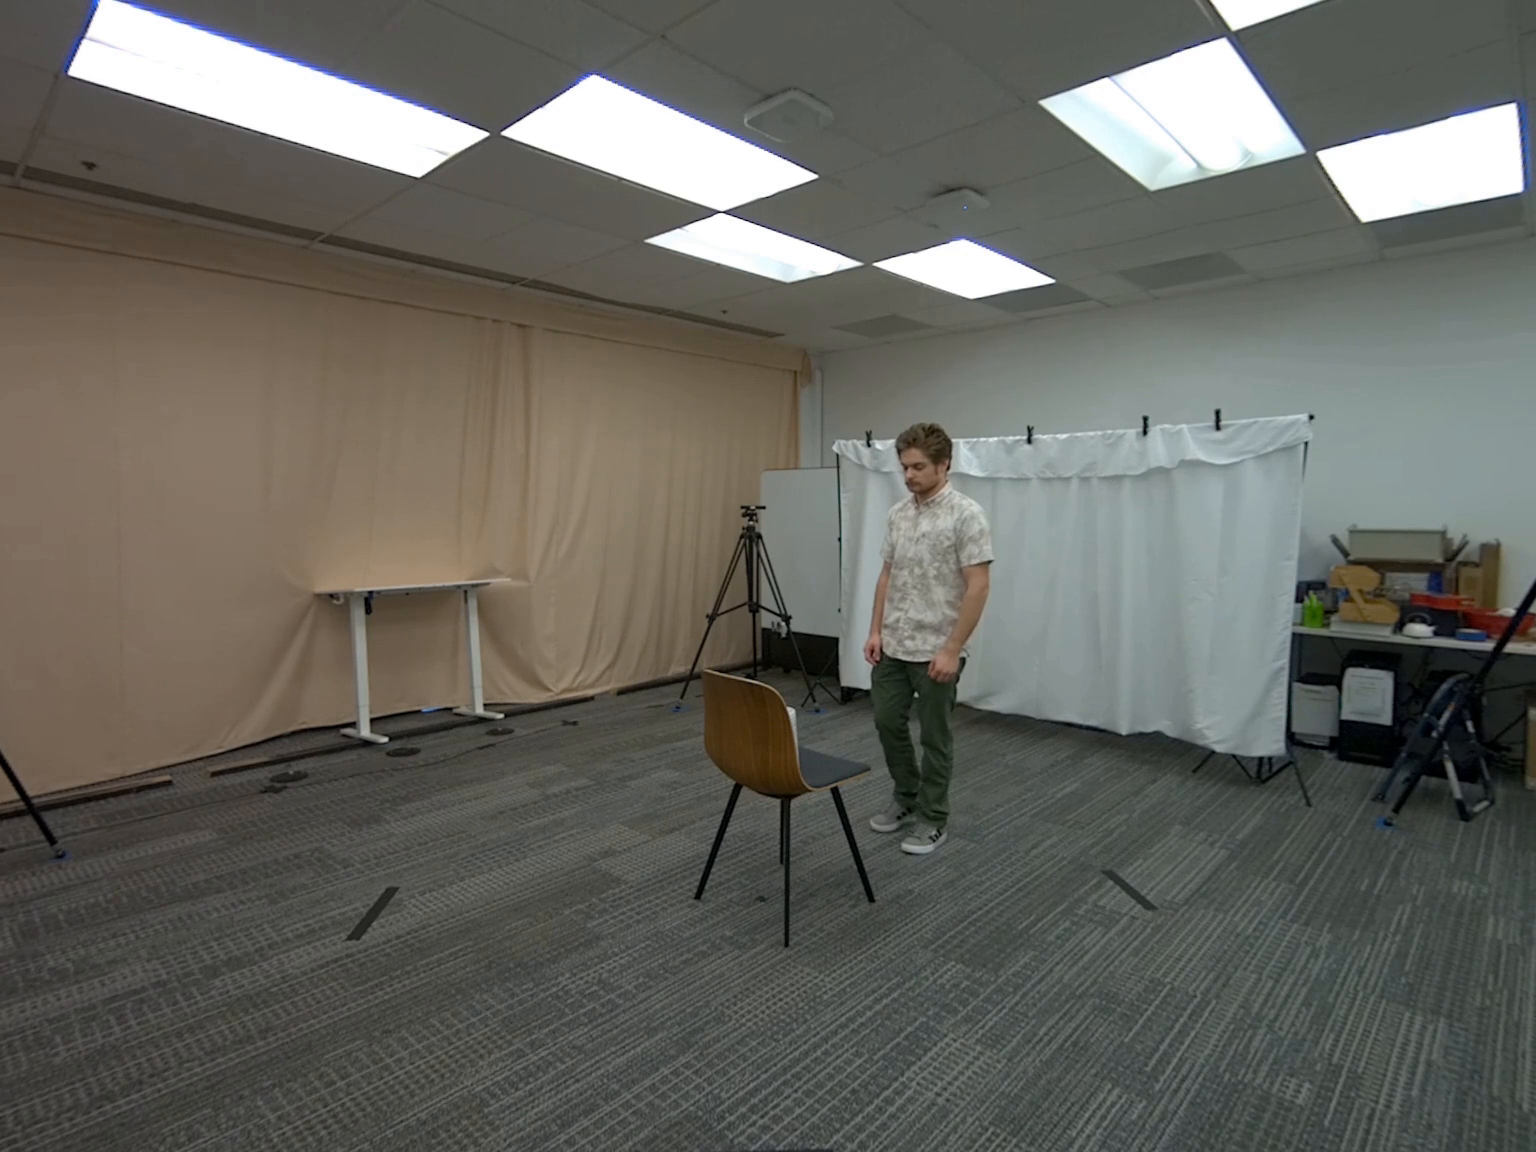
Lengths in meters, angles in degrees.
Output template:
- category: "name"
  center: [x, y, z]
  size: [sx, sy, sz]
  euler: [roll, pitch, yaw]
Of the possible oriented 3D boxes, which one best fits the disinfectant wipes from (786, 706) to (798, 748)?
- category: "disinfectant wipes"
  center: [0.054, 0.573, 2.901]
  size: [0.118, 0.217, 0.118]
  euler: [-4, 3, -2]
